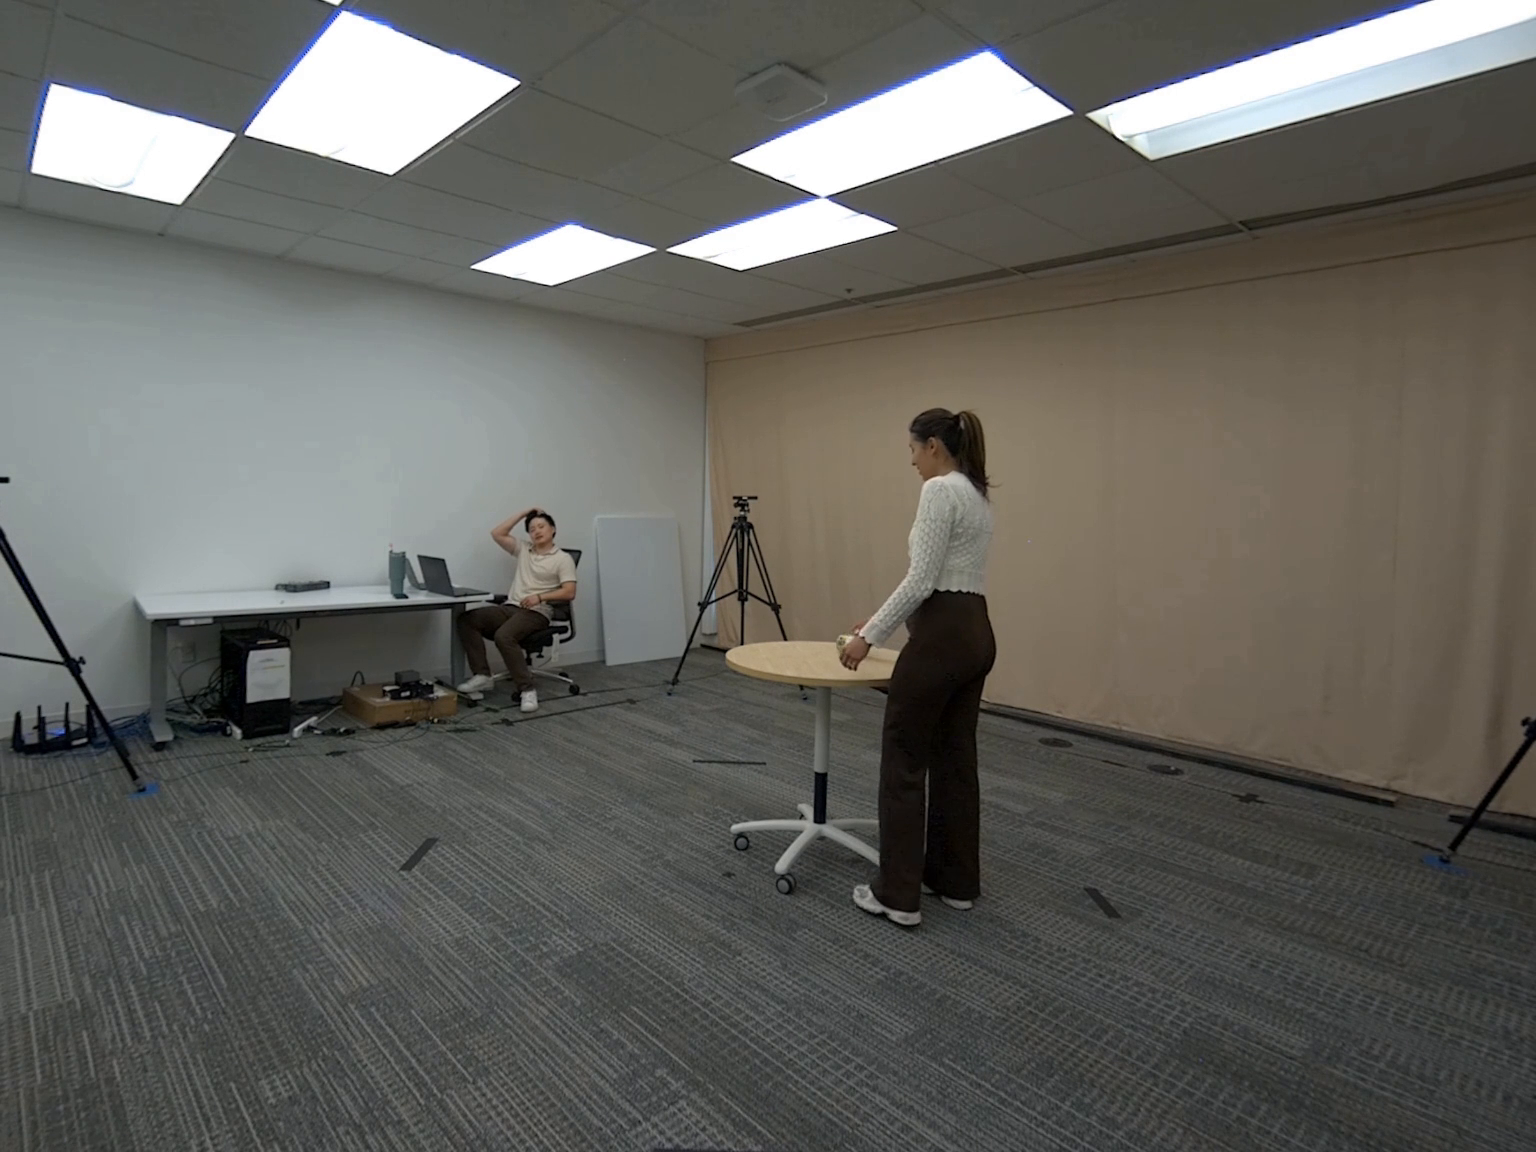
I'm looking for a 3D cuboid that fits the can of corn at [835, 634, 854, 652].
[{"bbox_3d":[0.331,0.273,3.327,0.072,0.074,0.114,-2,7,-37],"label":"can of corn"}]
